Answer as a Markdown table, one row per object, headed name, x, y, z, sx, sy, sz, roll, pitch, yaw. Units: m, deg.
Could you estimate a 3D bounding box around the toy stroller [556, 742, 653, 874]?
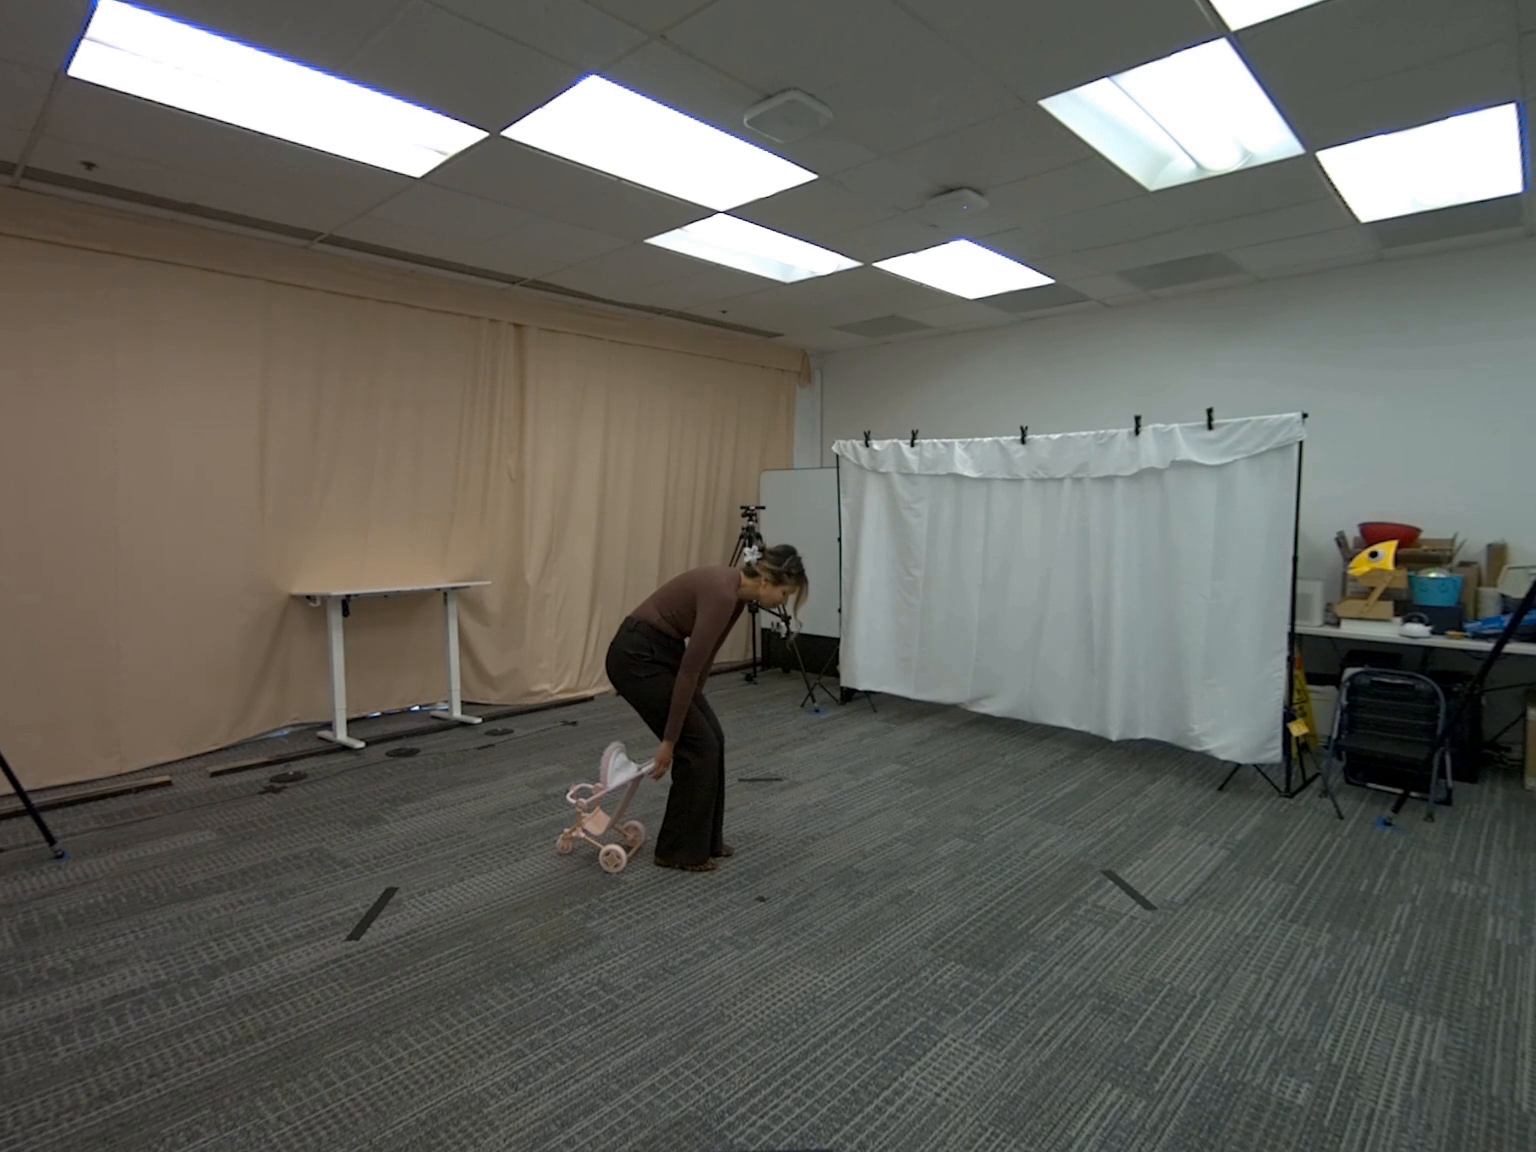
| name | x | y | z | sx | sy | sz | roll | pitch | yaw |
| --- | --- | --- | --- | --- | --- | --- | --- | --- | --- |
| toy stroller | -0.634 | 0.903 | 3.347 | 0.348 | 0.534 | 0.277 | 18 | 7 | 15 |
